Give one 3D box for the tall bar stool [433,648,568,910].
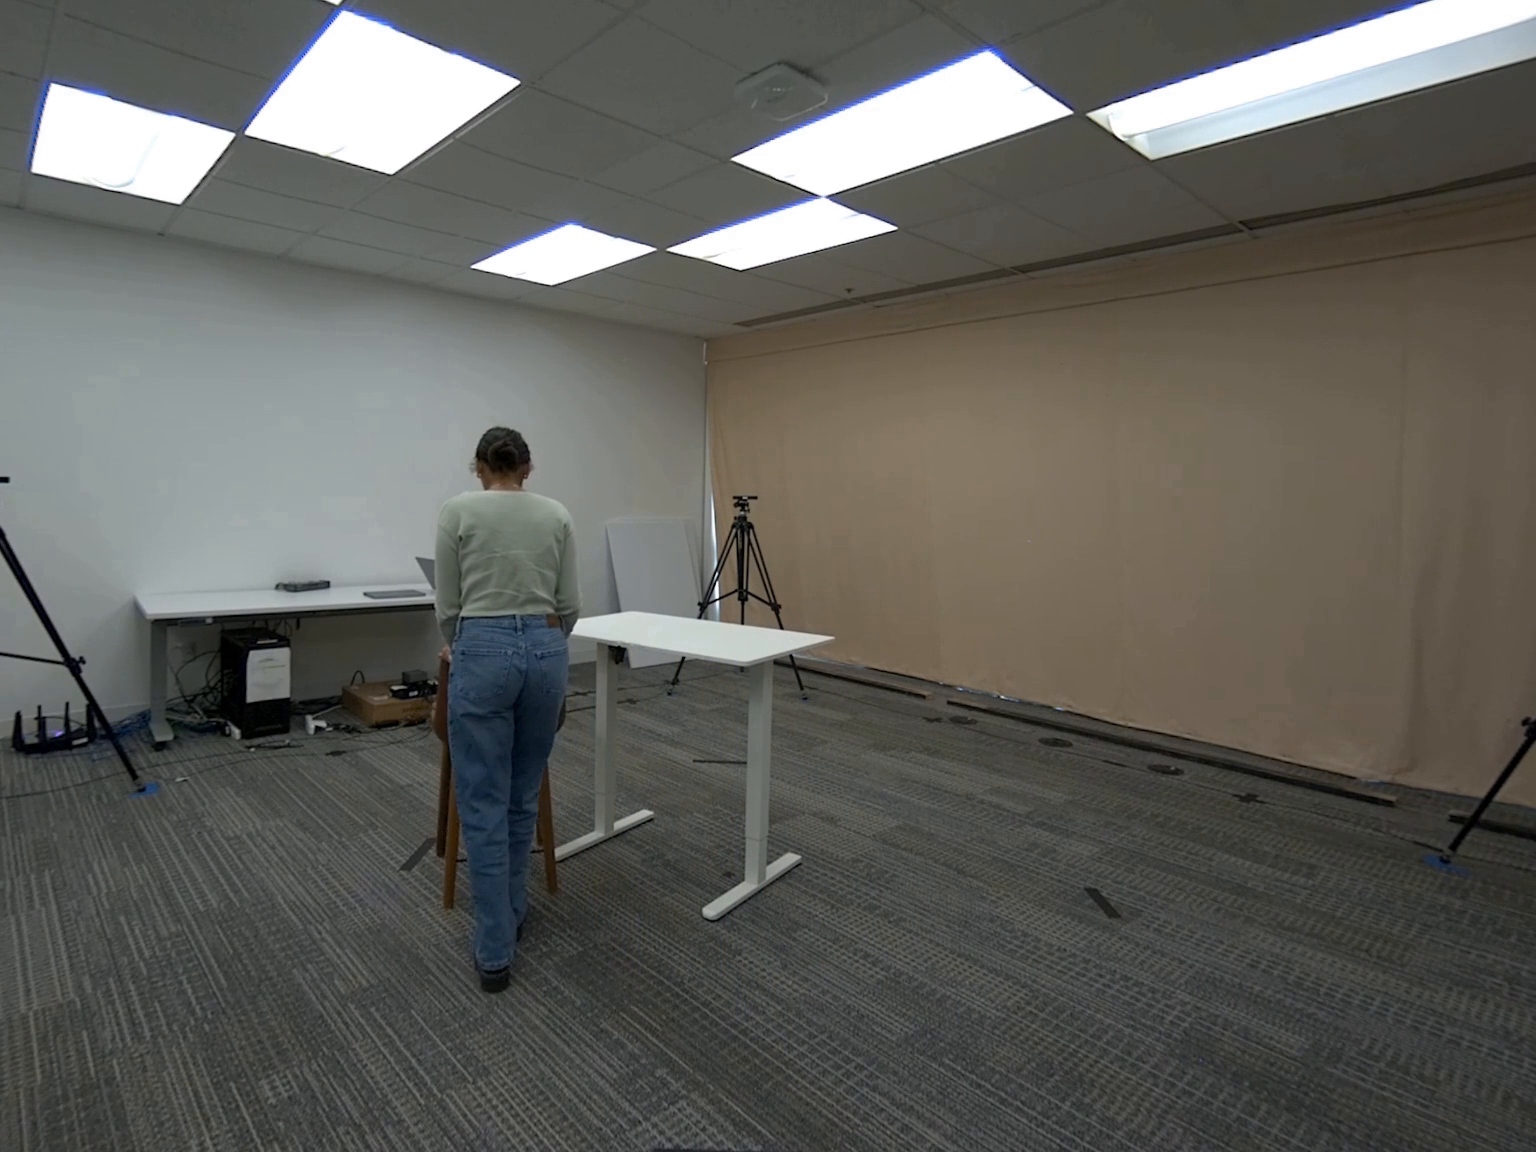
[{"bbox_3d":[-0.991,0.659,3.043,0.449,0.887,0.476,0,5,-22],"label":"tall bar stool"}]
